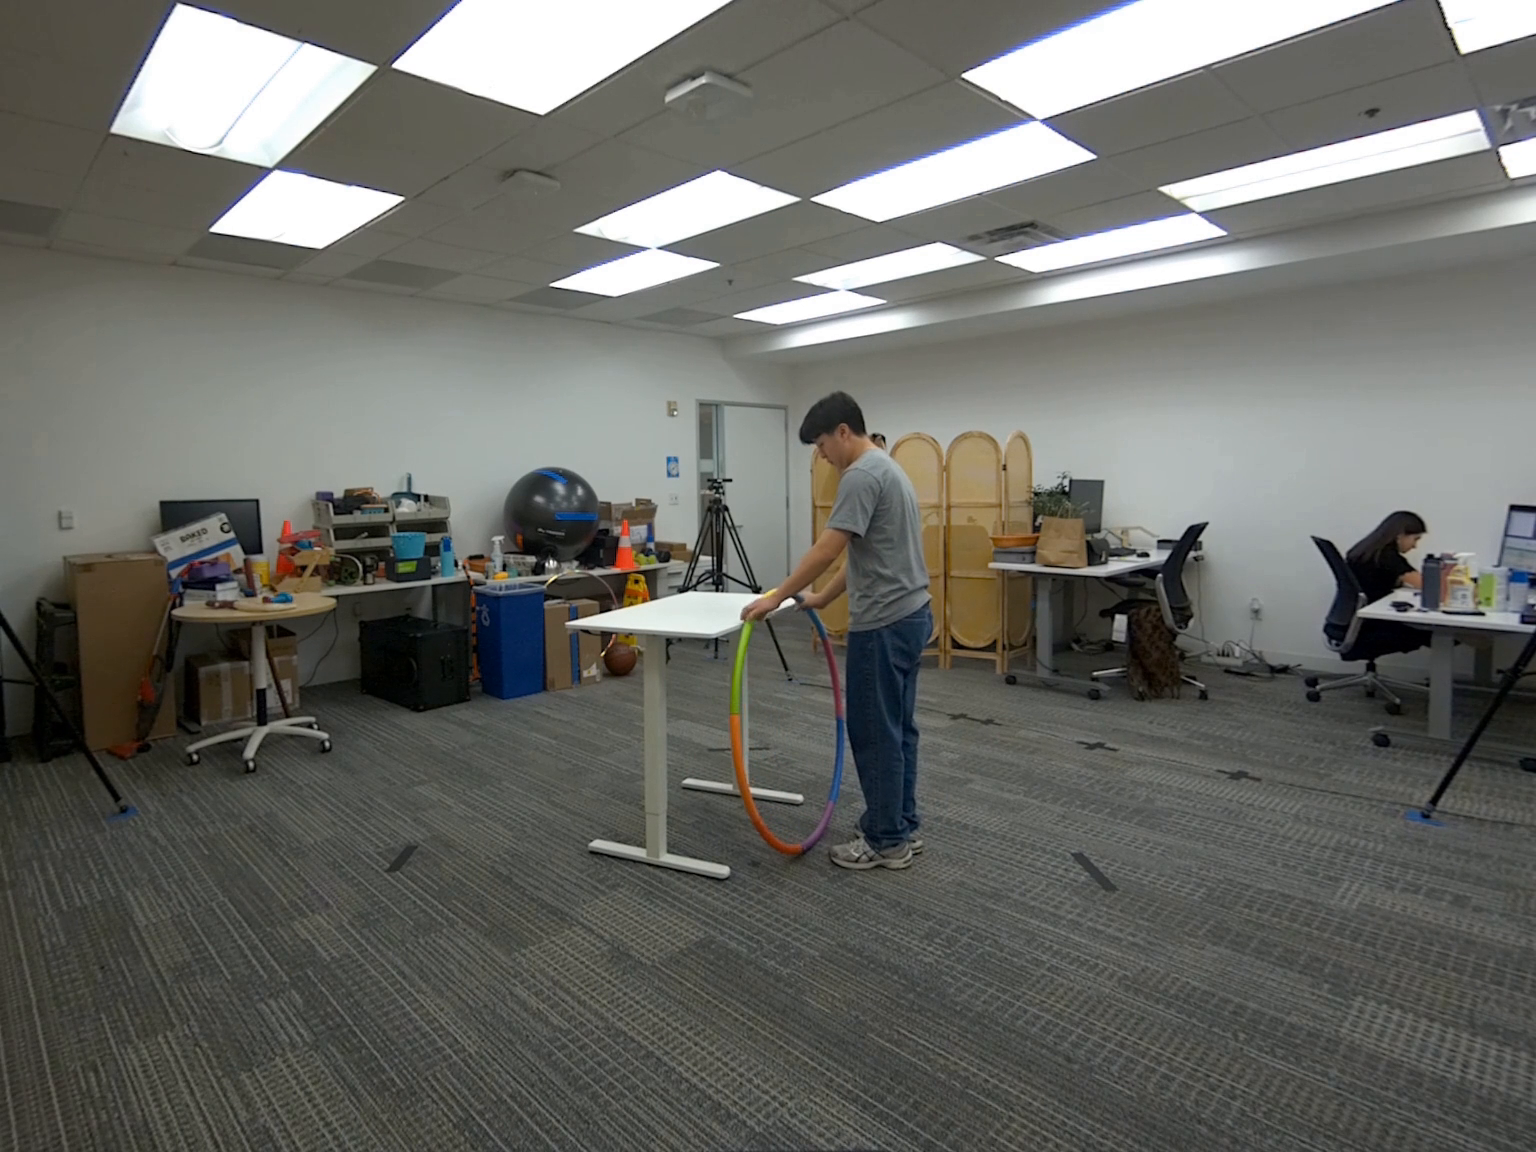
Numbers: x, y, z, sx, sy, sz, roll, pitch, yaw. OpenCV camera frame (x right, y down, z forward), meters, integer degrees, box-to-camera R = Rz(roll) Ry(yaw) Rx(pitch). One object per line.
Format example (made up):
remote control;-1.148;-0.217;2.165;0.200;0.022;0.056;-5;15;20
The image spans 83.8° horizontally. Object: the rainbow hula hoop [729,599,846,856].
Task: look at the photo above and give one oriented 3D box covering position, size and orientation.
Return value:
rainbow hula hoop;0.094;0.530;3.263;0.036;0.979;0.960;-9;1;25
